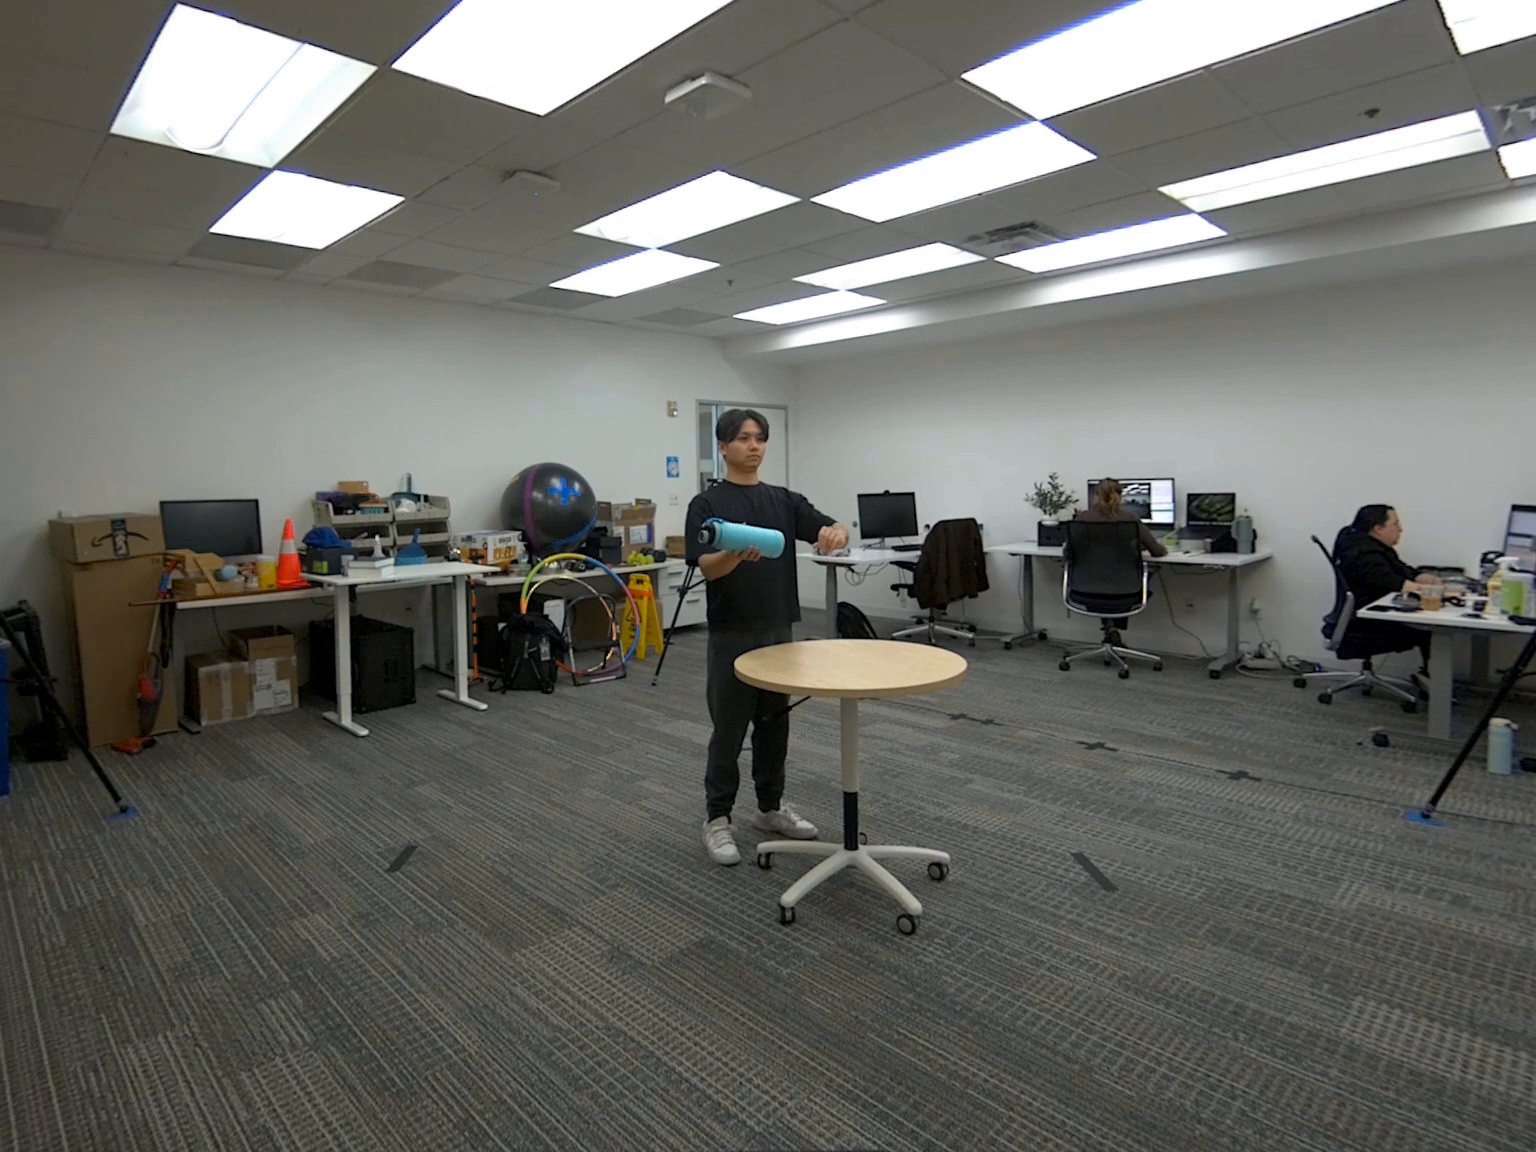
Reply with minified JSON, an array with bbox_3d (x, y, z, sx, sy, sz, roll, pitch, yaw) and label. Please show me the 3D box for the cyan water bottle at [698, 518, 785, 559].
[{"bbox_3d":[-0.084,-0.127,2.743,0.275,0.092,0.095,9,-1,-30],"label":"cyan water bottle"}]
